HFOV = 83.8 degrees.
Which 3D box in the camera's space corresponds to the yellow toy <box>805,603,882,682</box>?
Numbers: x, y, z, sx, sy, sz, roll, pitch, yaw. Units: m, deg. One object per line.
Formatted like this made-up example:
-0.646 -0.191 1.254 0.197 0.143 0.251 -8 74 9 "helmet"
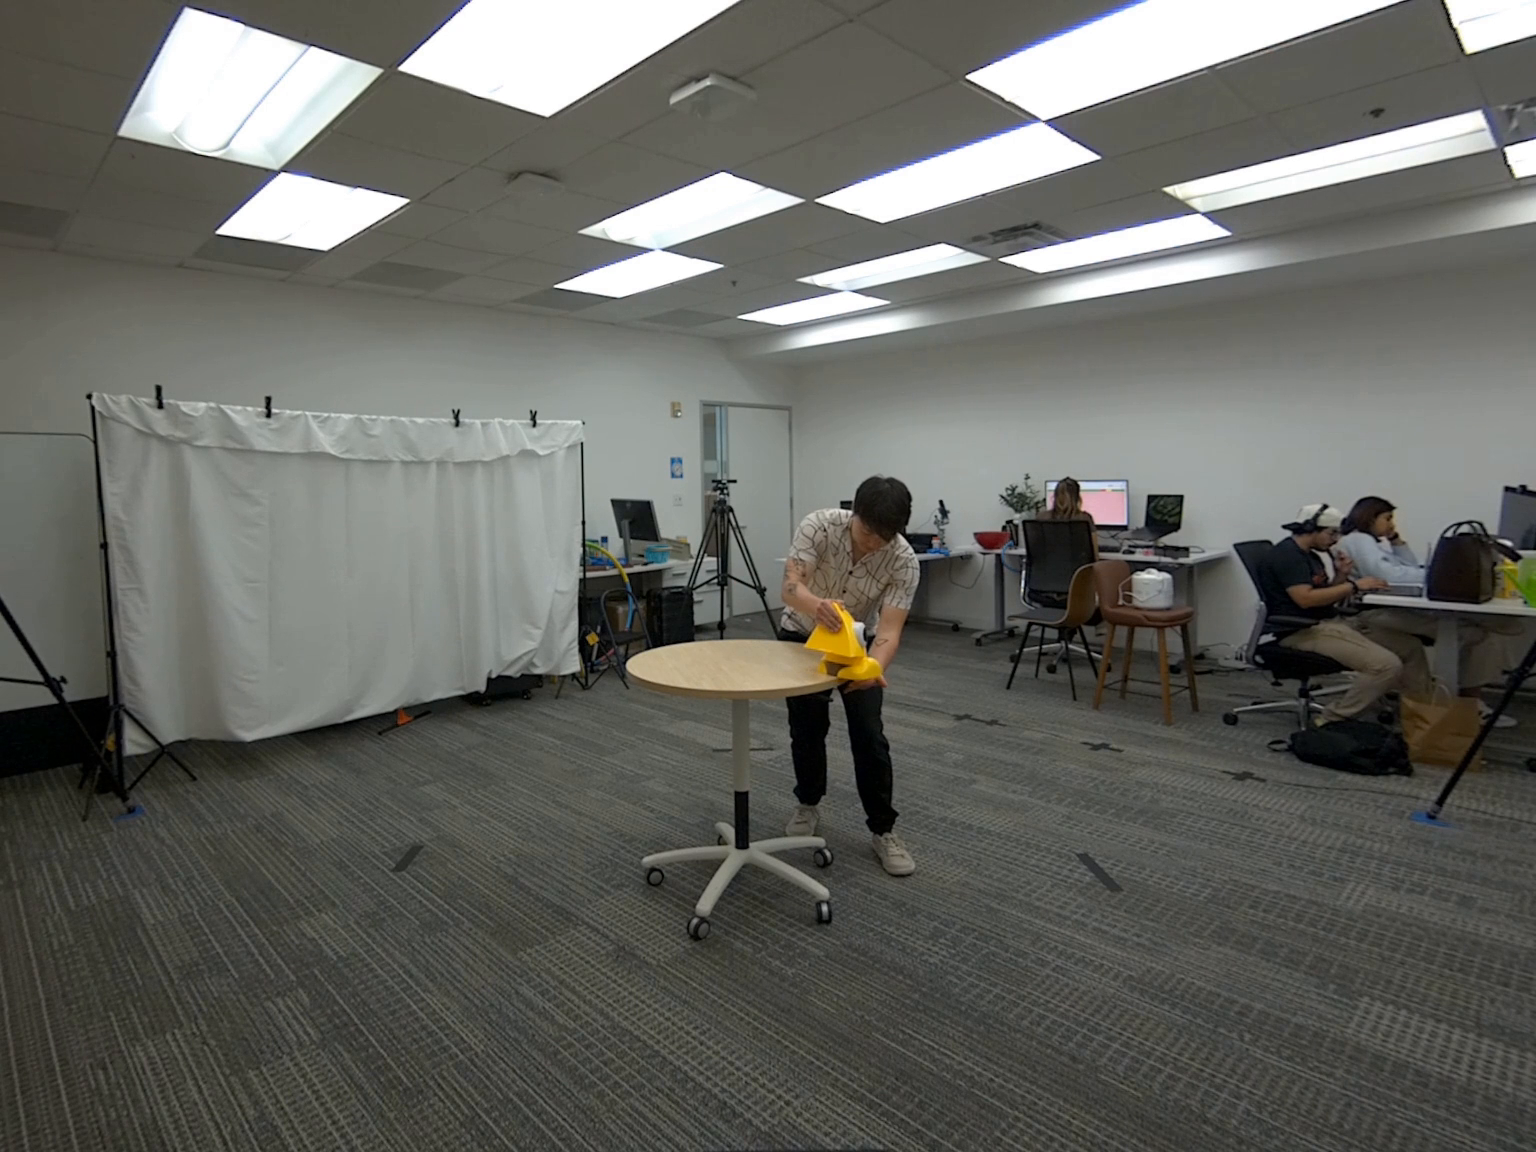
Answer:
0.251 0.197 2.707 0.188 0.230 0.211 -5 7 -40 "yellow toy"
